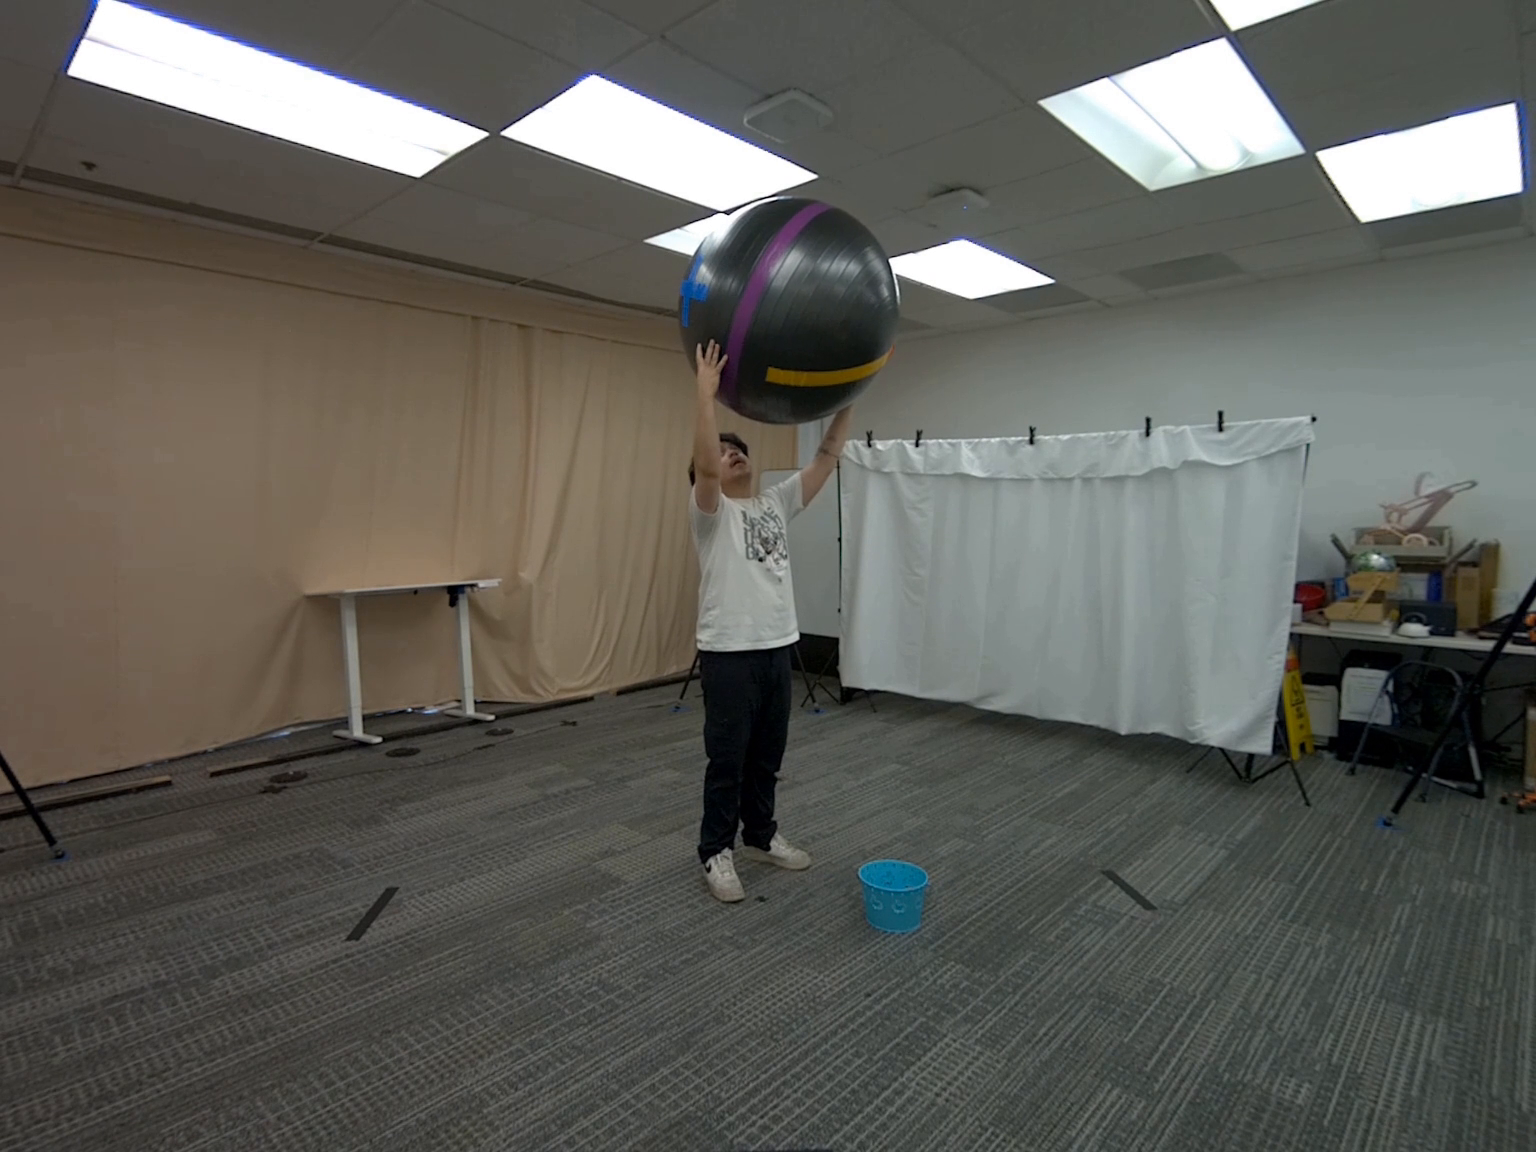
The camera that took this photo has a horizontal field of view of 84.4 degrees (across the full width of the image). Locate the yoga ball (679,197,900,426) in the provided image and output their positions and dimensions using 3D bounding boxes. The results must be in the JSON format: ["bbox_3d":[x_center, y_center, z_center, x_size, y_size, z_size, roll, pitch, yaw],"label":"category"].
[{"bbox_3d":[0.074,-0.901,2.914,0.757,0.756,0.760,0,4,-2],"label":"yoga ball"}]
